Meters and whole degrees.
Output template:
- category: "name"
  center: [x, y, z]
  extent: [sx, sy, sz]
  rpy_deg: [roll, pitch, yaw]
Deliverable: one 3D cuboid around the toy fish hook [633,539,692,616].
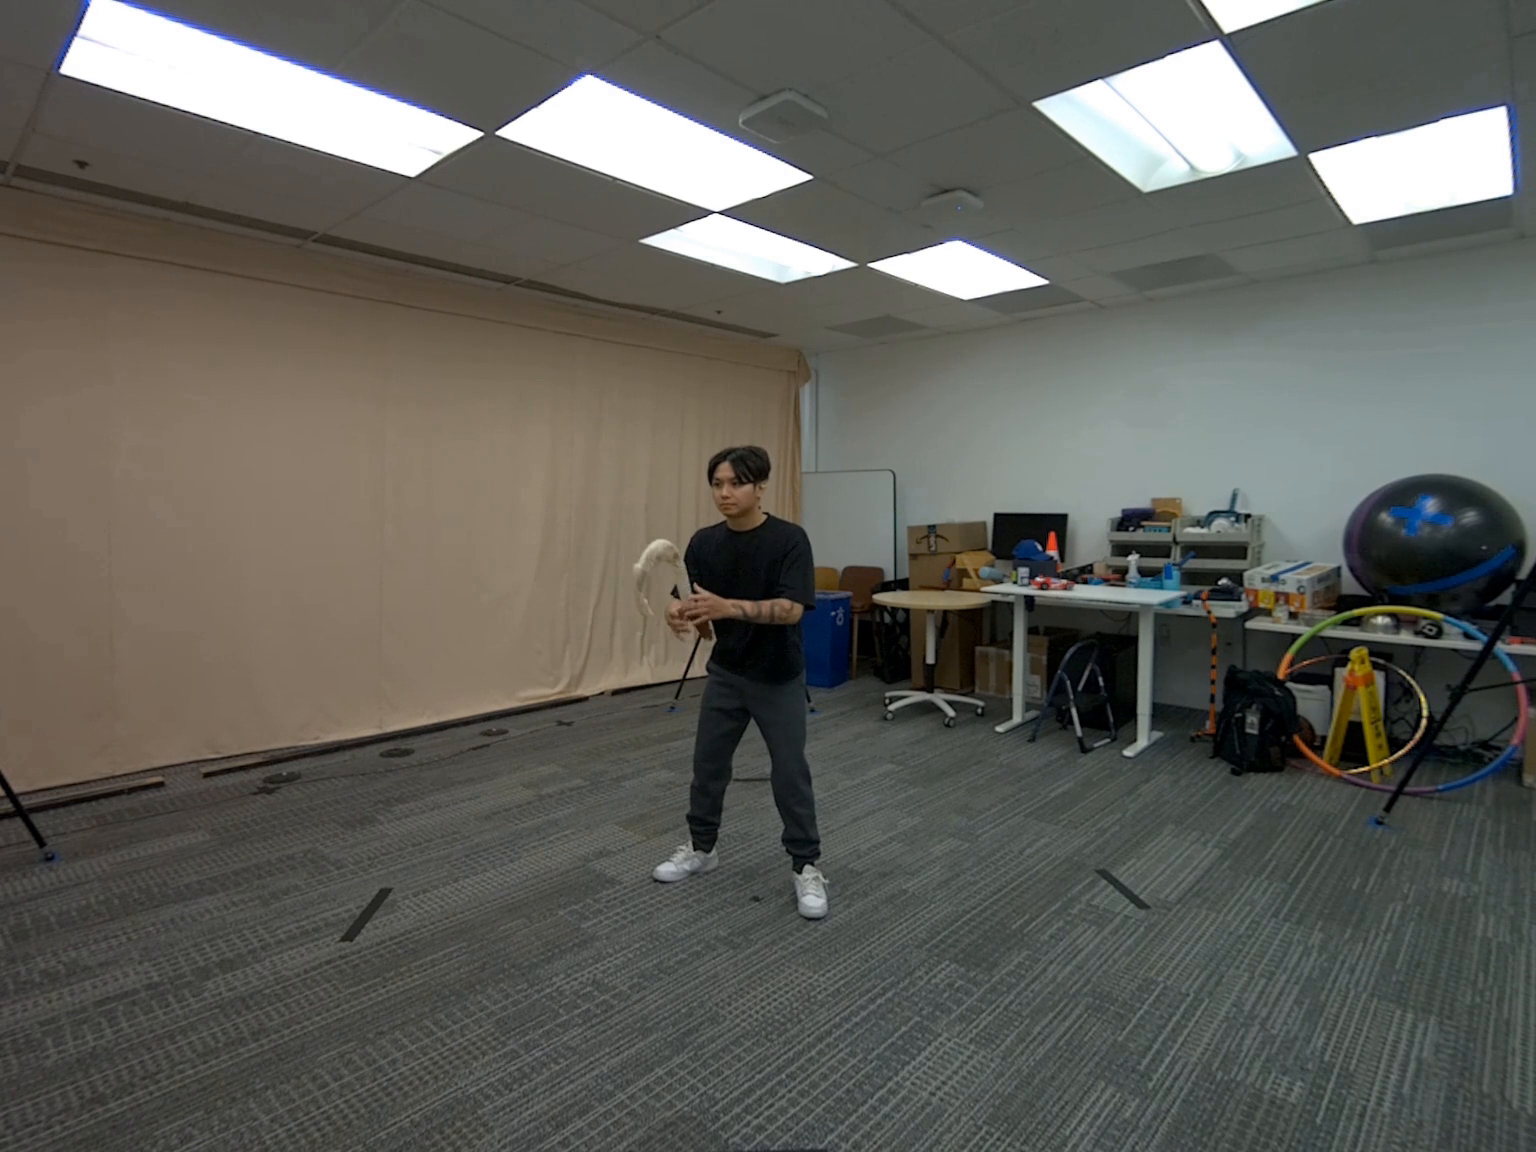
- category: "toy fish hook"
  center: [-0.287, 0.134, 2.633]
  extent: [0.050, 0.224, 0.491]
  rpy_deg: [19, -30, 36]
